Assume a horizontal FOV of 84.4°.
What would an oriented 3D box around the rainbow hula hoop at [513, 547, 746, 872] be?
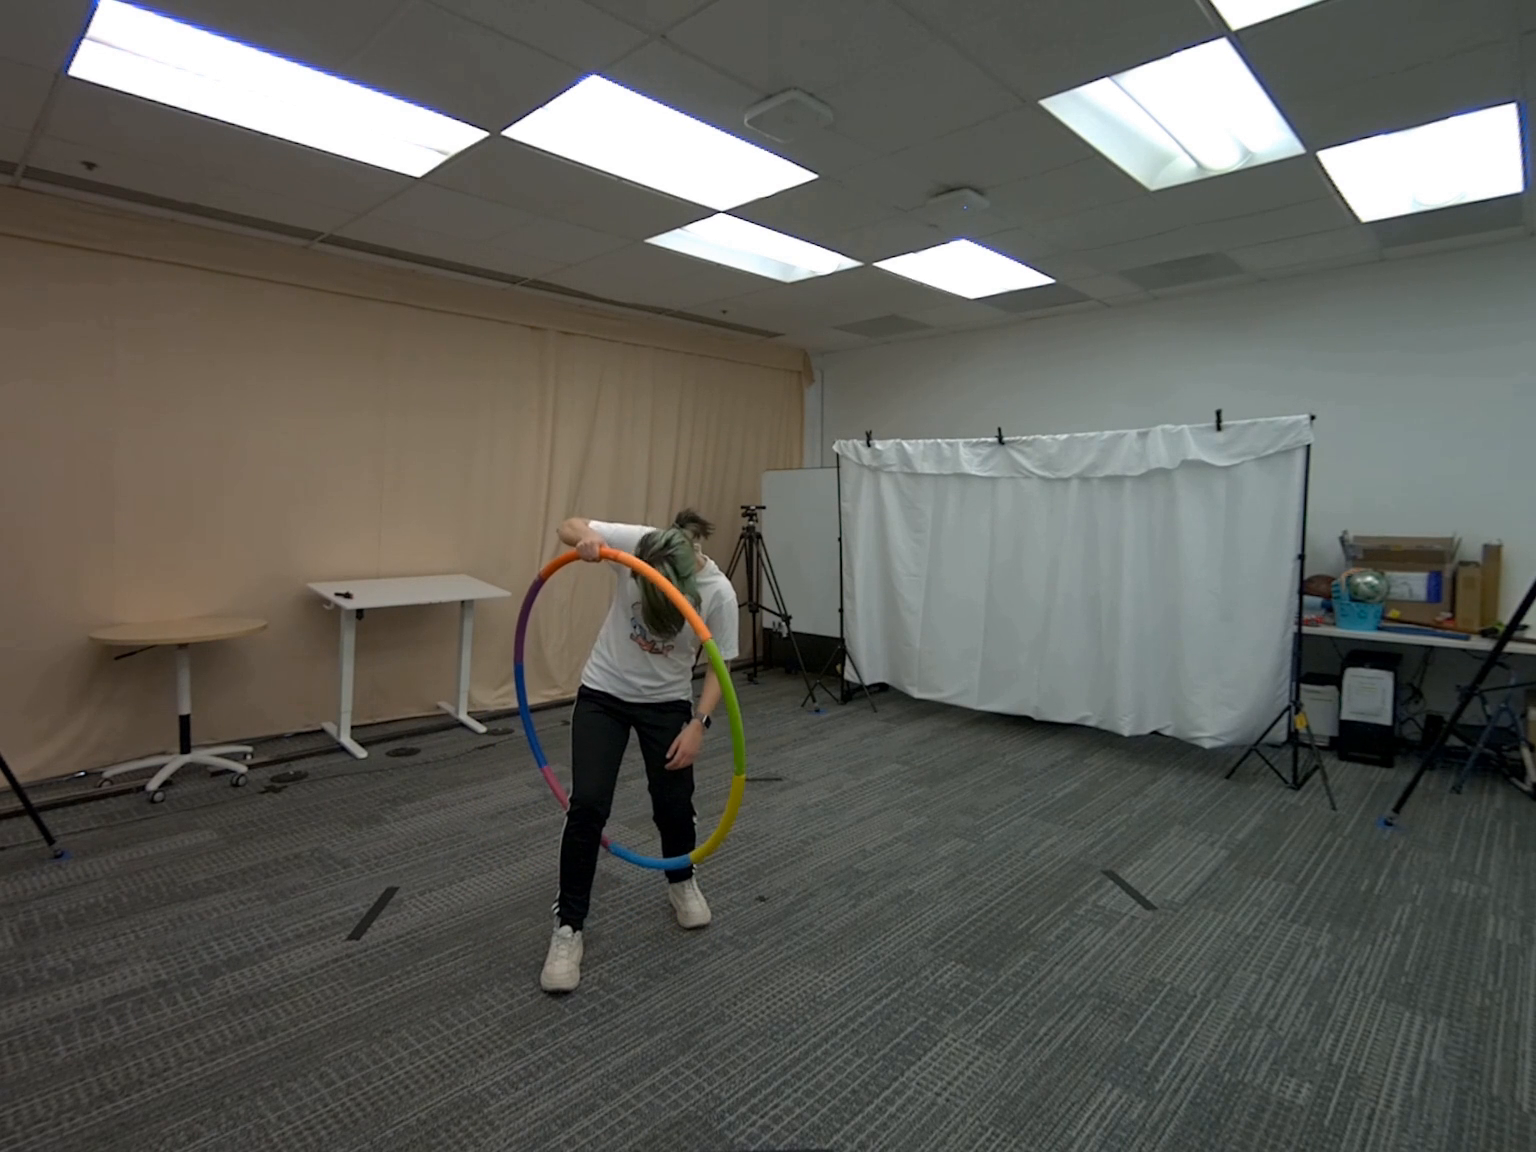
[{"bbox_3d":[-0.458,0.402,2.533,1.011,0.972,0.034,3,12,39],"label":"rainbow hula hoop"}]
